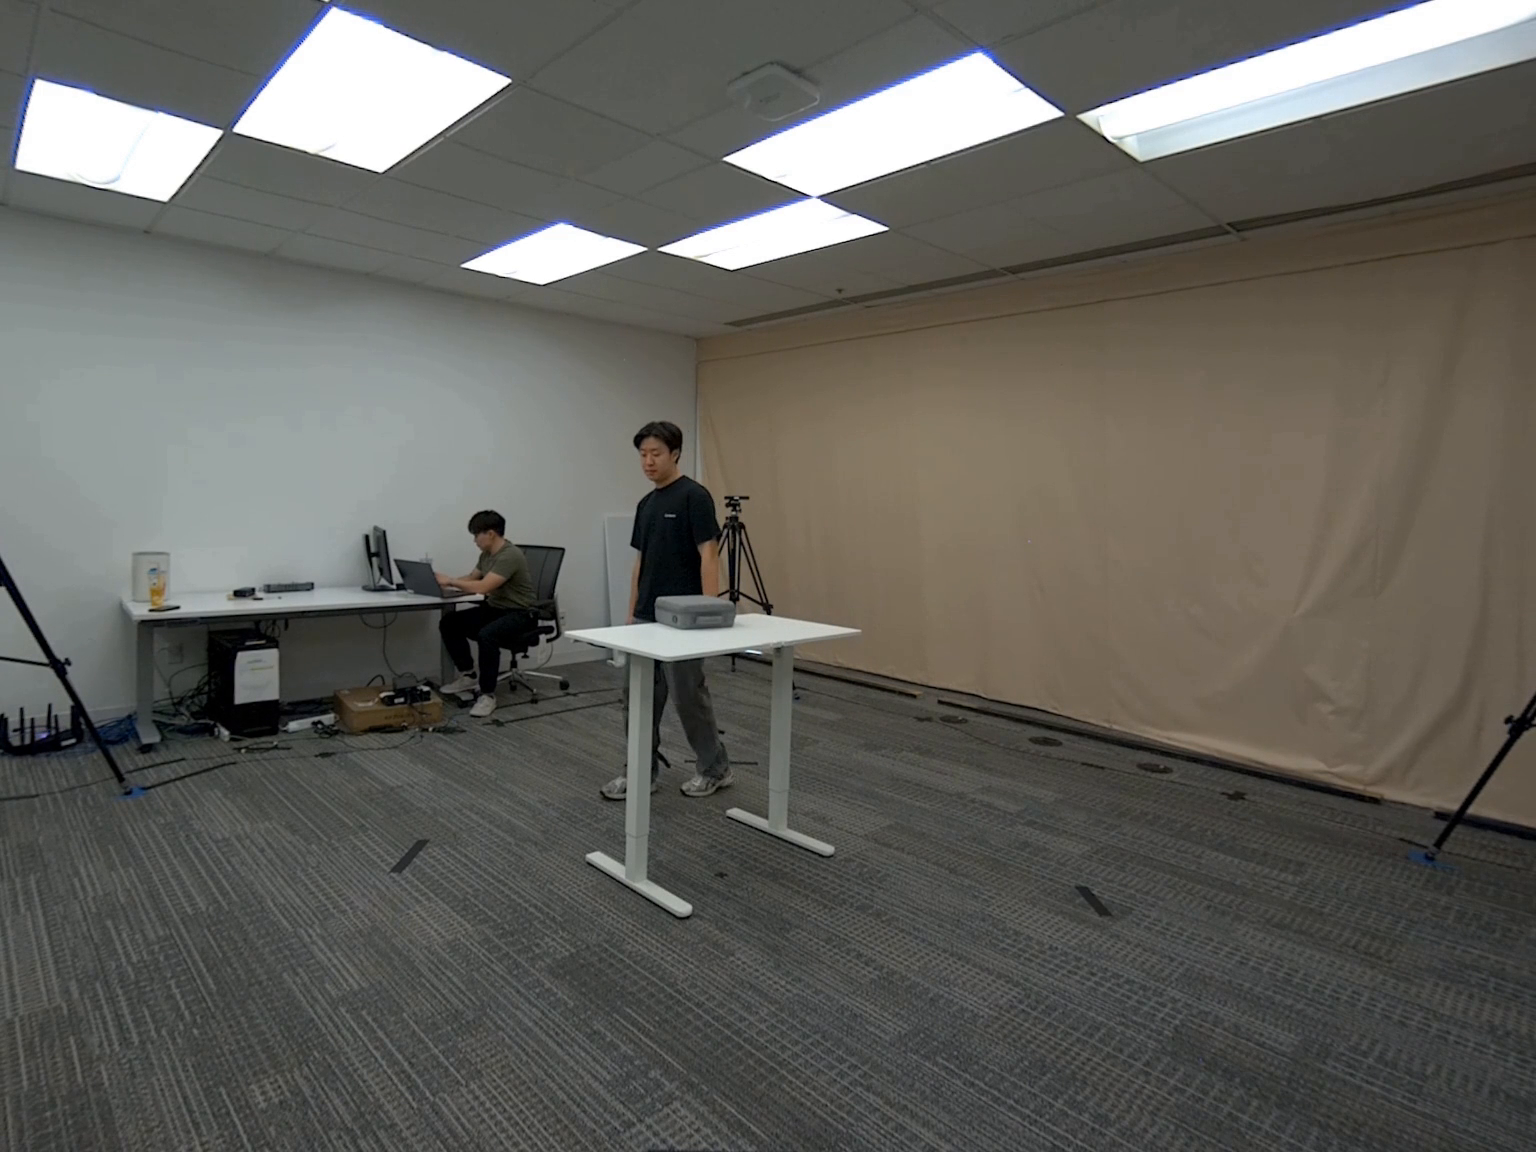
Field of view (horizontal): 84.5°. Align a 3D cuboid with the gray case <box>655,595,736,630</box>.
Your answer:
[{"bbox_3d":[-0.299,0.143,3.357,0.251,0.104,0.267,-1,6,-31],"label":"gray case"}]
